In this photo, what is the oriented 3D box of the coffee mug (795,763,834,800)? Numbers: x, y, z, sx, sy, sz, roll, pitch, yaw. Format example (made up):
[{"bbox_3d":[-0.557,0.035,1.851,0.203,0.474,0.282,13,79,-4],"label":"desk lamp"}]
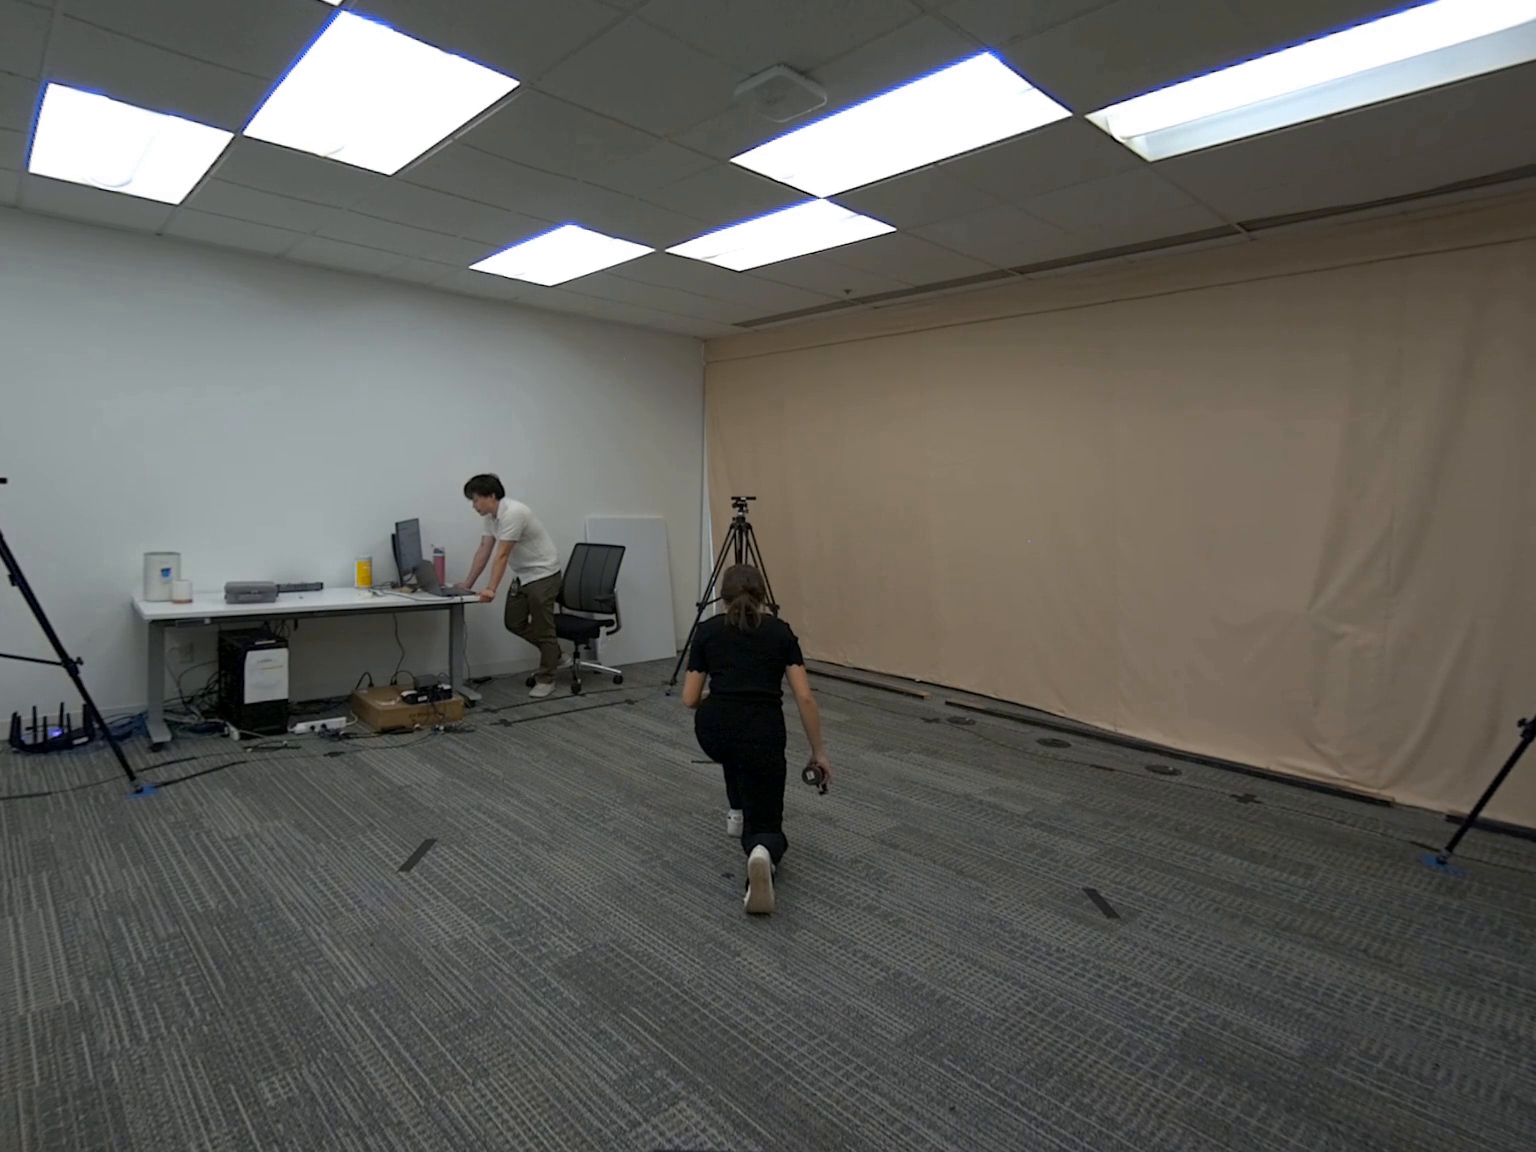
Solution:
[{"bbox_3d":[0.183,0.801,3.350,0.088,0.124,0.199,-22,-14,7],"label":"coffee mug"}]
